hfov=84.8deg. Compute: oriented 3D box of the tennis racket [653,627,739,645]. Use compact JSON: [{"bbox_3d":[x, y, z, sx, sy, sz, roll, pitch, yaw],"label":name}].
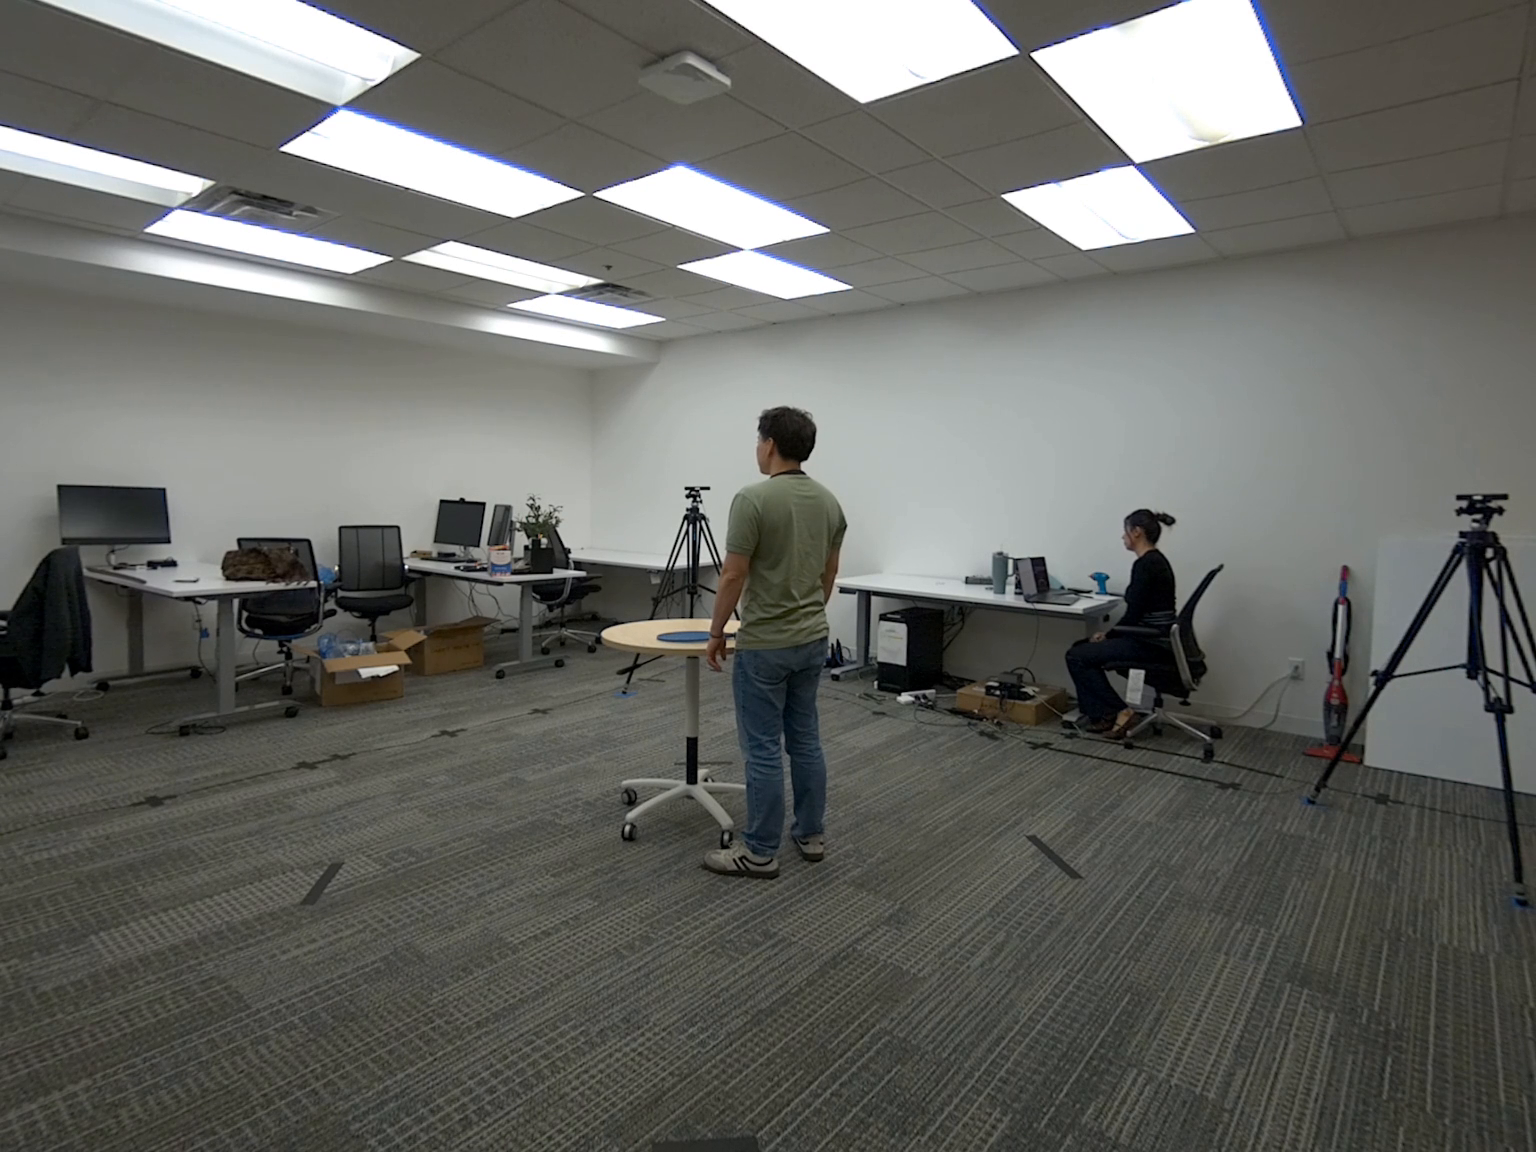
[{"bbox_3d":[-0.233,0.241,3.409,0.435,0.031,0.213,-1,5,4],"label":"tennis racket"}]
